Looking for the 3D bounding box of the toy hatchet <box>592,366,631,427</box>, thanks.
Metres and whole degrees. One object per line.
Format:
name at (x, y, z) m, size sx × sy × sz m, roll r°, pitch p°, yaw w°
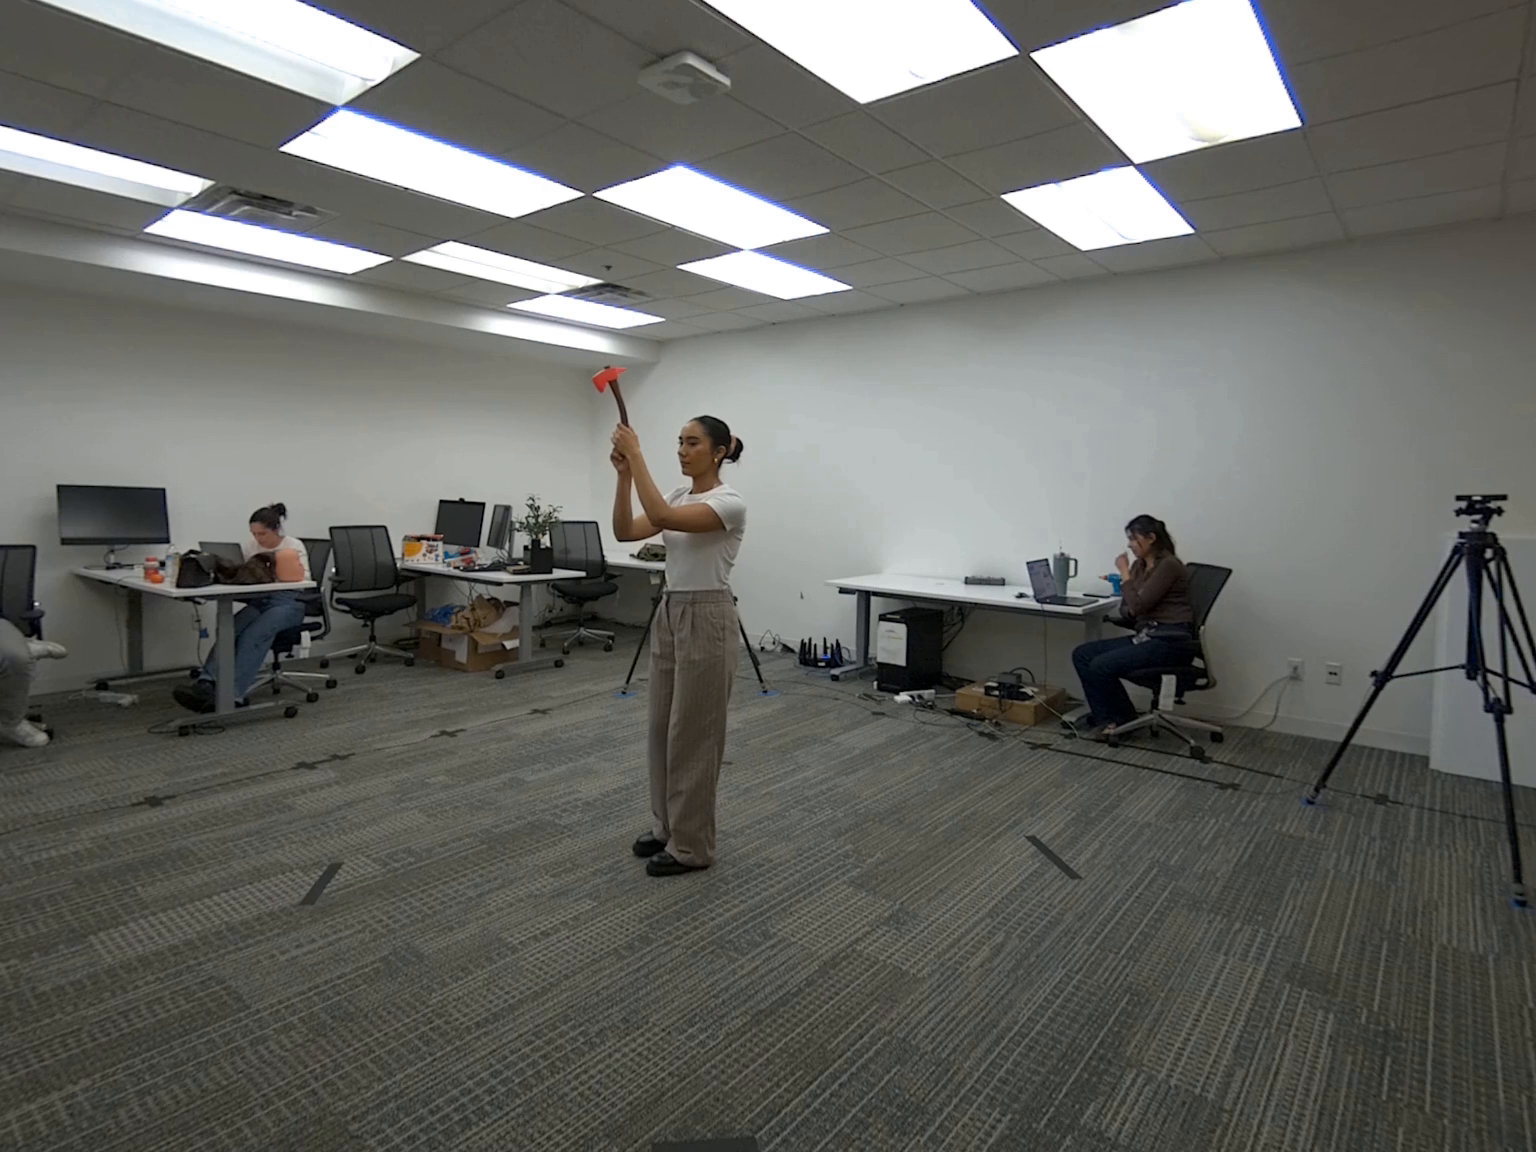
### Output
toy hatchet at (-0.547, -0.595, 2.917) m, size 0.128 × 0.270 × 0.030 m, roll -3°, pitch 0°, yaw -28°
